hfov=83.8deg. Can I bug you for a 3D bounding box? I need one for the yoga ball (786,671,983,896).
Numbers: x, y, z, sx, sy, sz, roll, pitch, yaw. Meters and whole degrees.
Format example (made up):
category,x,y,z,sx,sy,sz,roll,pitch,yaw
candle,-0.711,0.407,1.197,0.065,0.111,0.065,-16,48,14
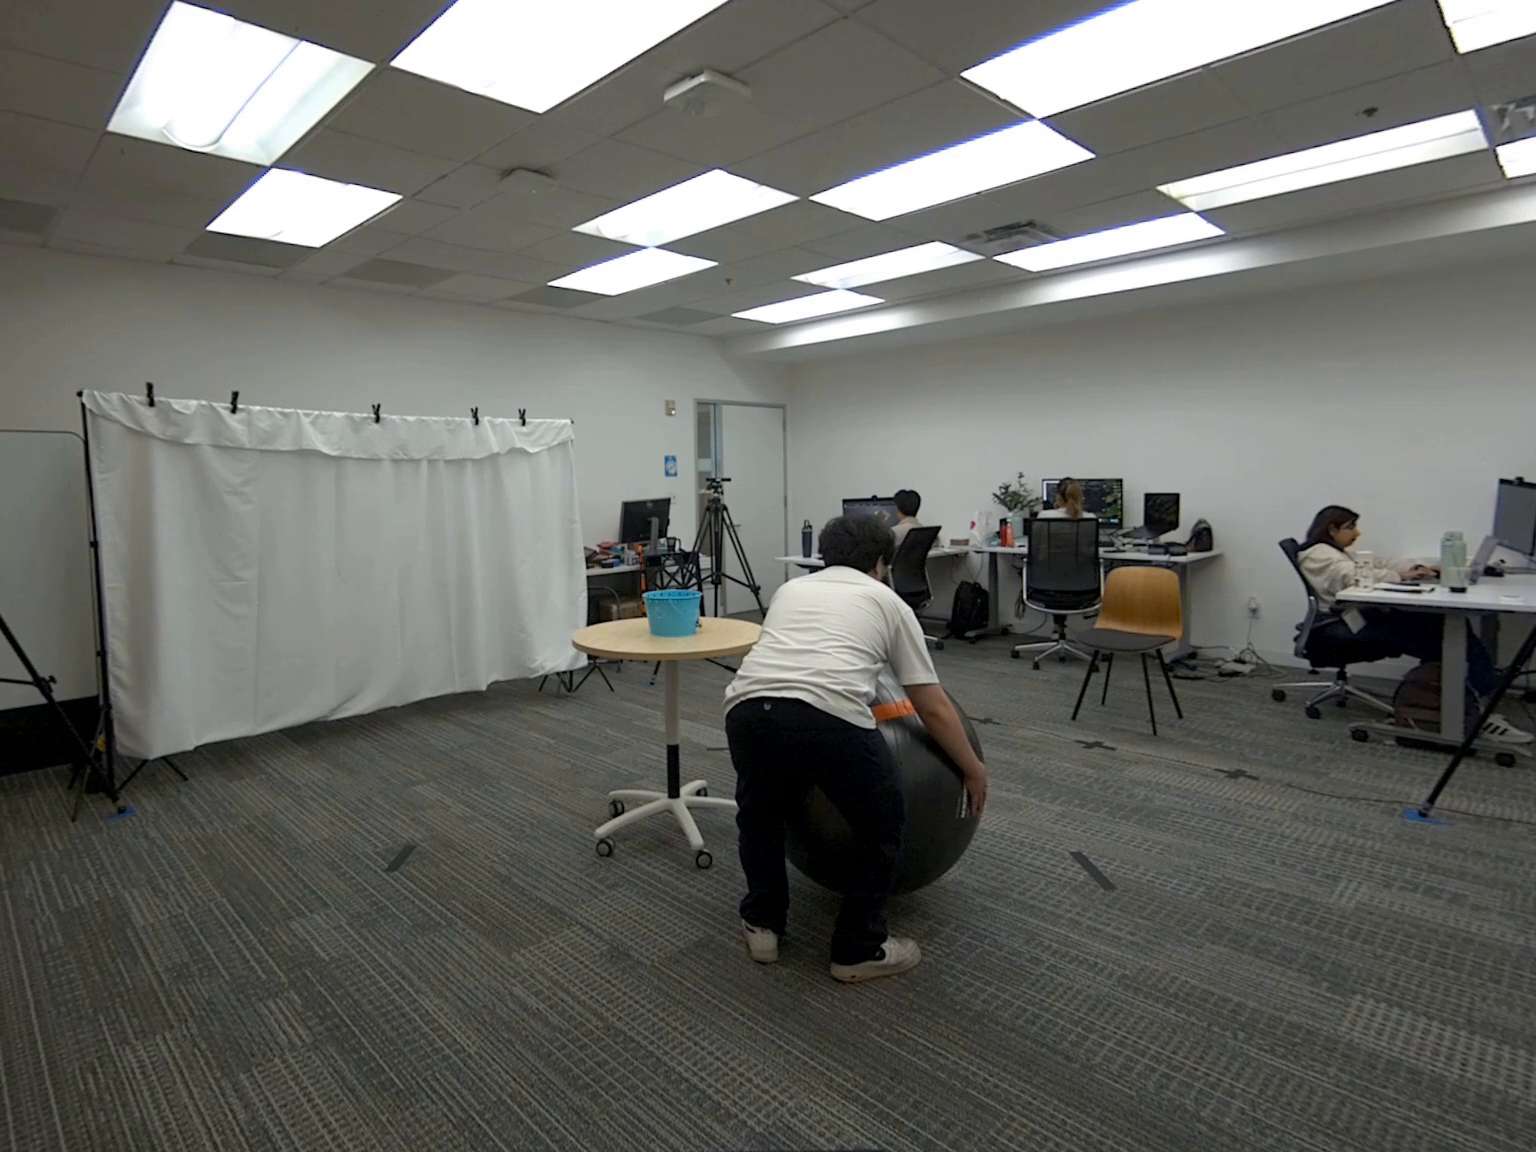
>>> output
category,x,y,z,sx,sy,sz,roll,pitch,yaw
yoga ball,0.346,0.658,2.838,0.757,0.755,0.762,-1,5,-2
